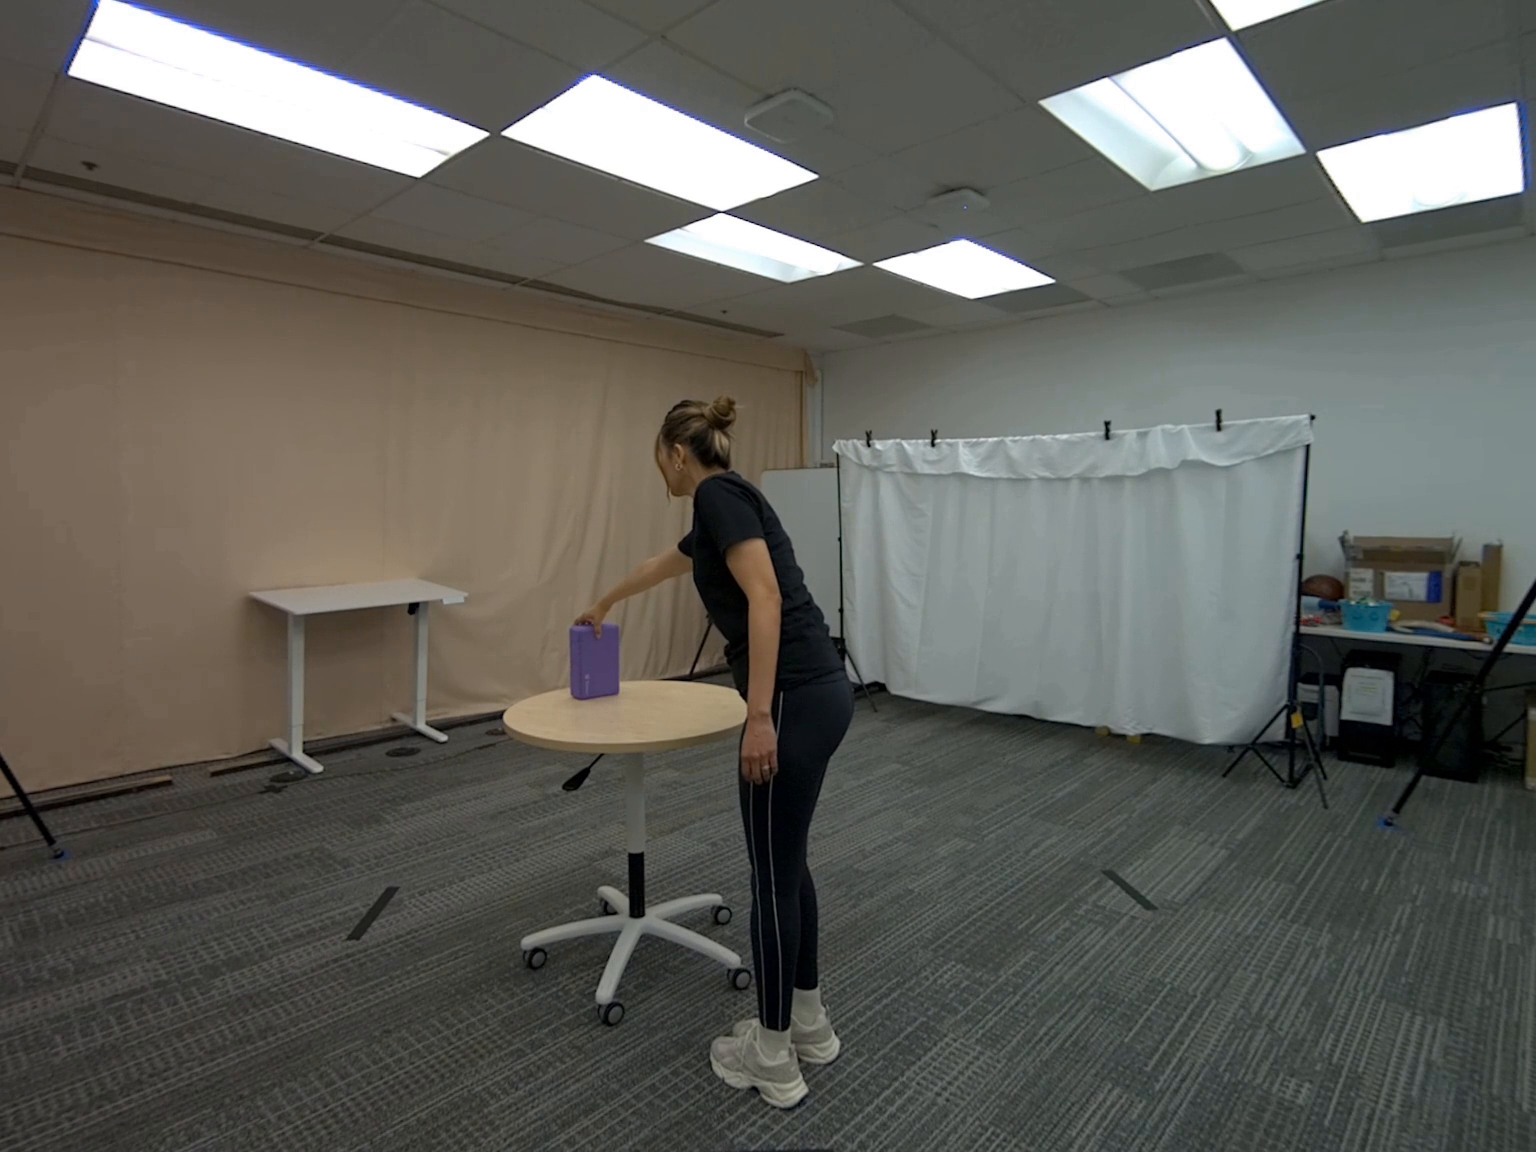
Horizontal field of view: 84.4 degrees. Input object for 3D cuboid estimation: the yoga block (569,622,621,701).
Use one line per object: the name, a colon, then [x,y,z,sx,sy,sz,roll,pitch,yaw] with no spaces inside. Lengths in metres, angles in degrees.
yoga block: [-0.563,0.275,2.705,0.145,0.228,0.079,-4,6,-37]
